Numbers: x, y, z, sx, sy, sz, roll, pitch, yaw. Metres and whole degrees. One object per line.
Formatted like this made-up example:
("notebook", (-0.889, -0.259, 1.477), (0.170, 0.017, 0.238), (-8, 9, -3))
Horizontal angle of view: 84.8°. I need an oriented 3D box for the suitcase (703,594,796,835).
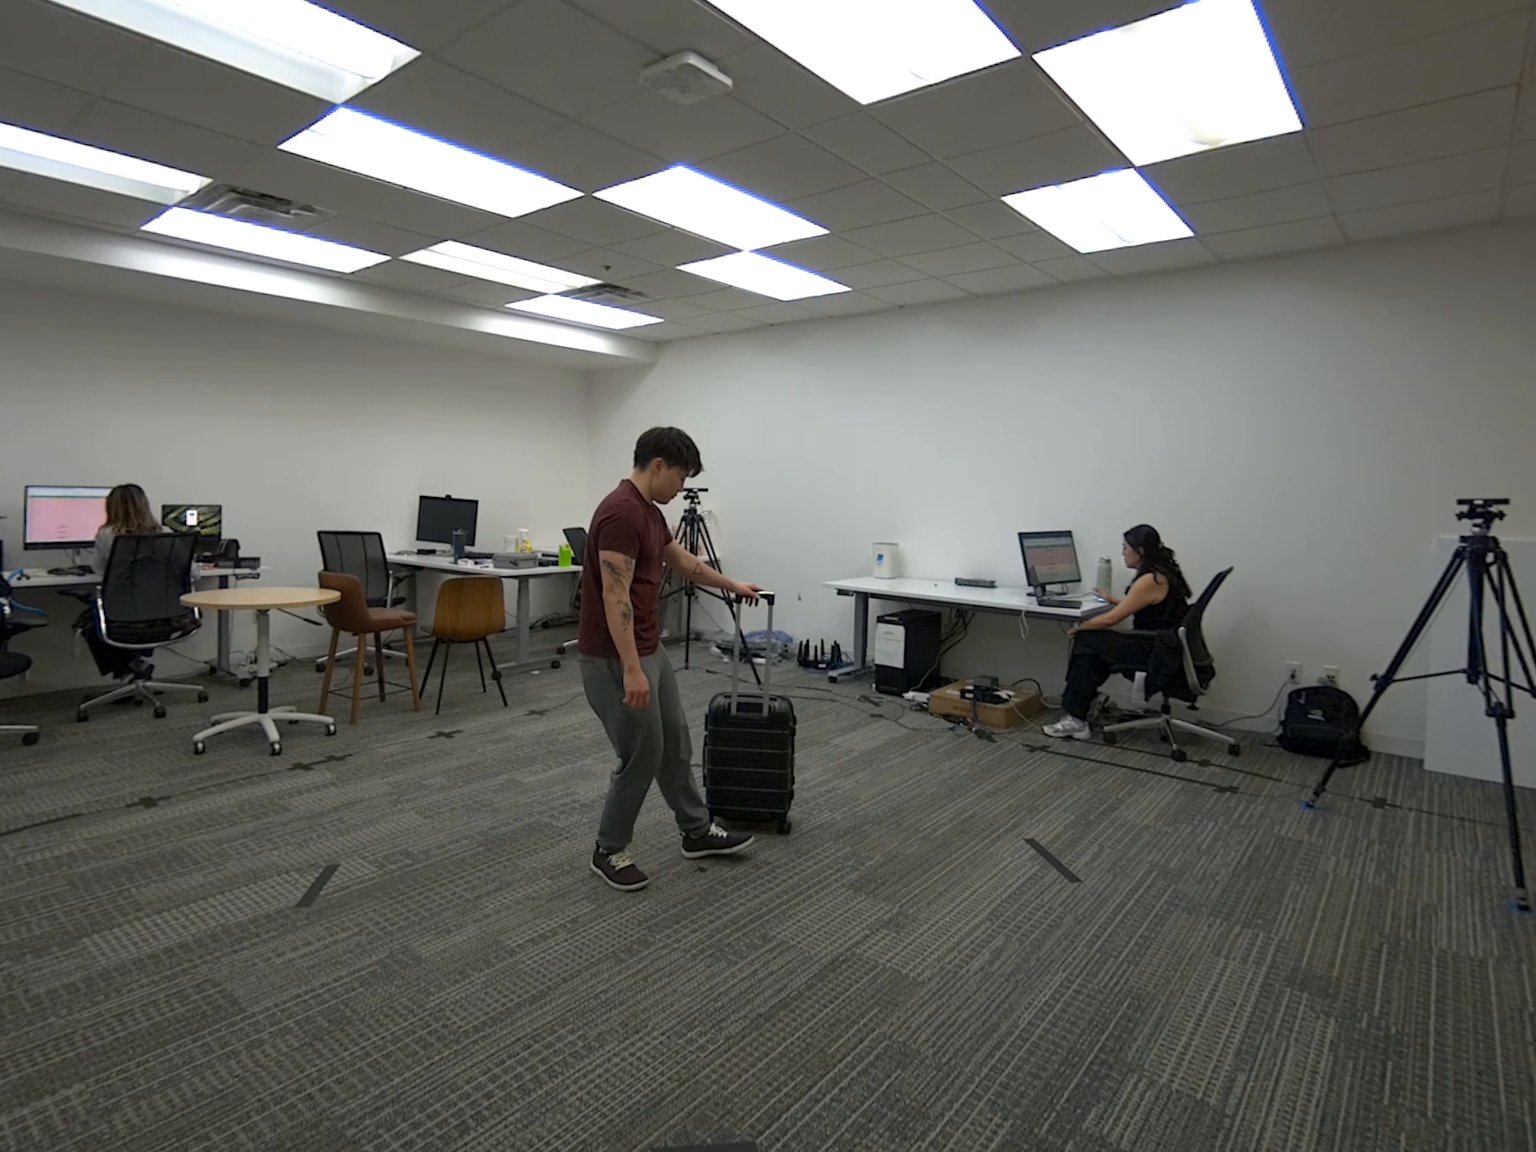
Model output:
("suitcase", (-0.077, 0.549, 3.543), (0.386, 0.977, 0.256), (2, 2, 5))
